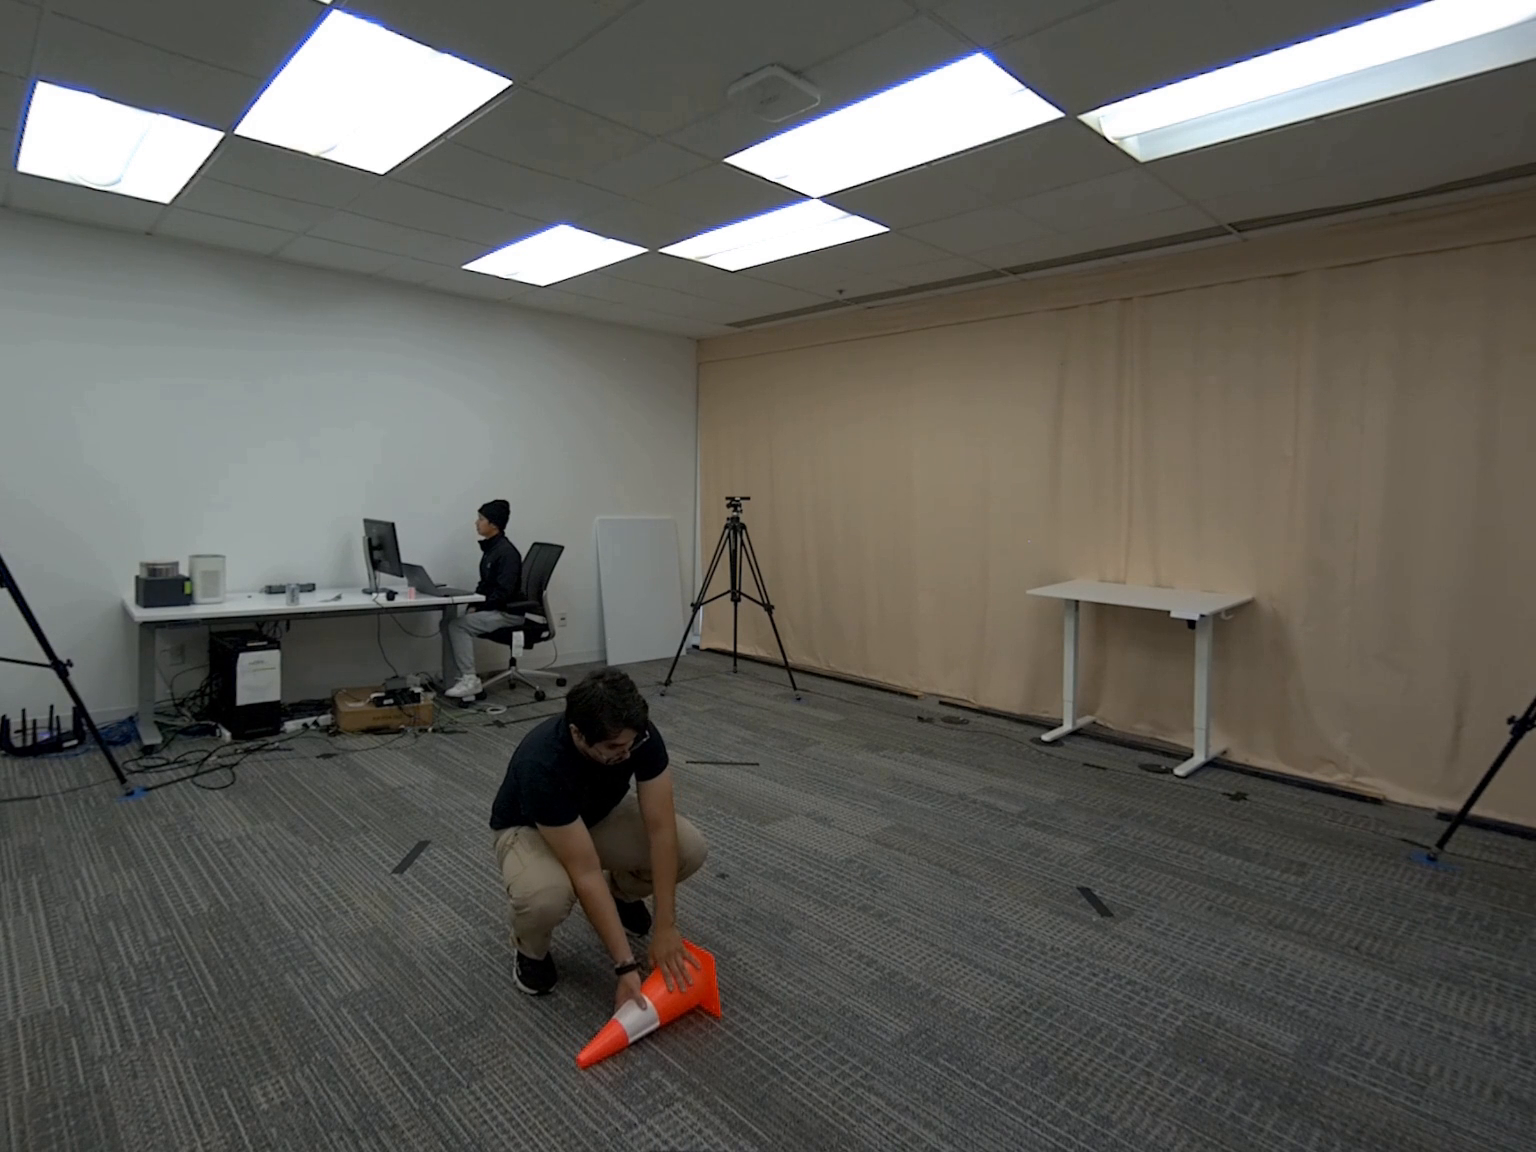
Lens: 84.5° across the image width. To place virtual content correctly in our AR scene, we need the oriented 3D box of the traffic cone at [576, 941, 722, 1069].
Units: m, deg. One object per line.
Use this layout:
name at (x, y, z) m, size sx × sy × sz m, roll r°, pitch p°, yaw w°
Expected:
traffic cone at (-0.340, 1.132, 2.162) m, size 0.208 × 0.203 × 0.378 m, roll 1°, pitch 14°, yaw 43°
